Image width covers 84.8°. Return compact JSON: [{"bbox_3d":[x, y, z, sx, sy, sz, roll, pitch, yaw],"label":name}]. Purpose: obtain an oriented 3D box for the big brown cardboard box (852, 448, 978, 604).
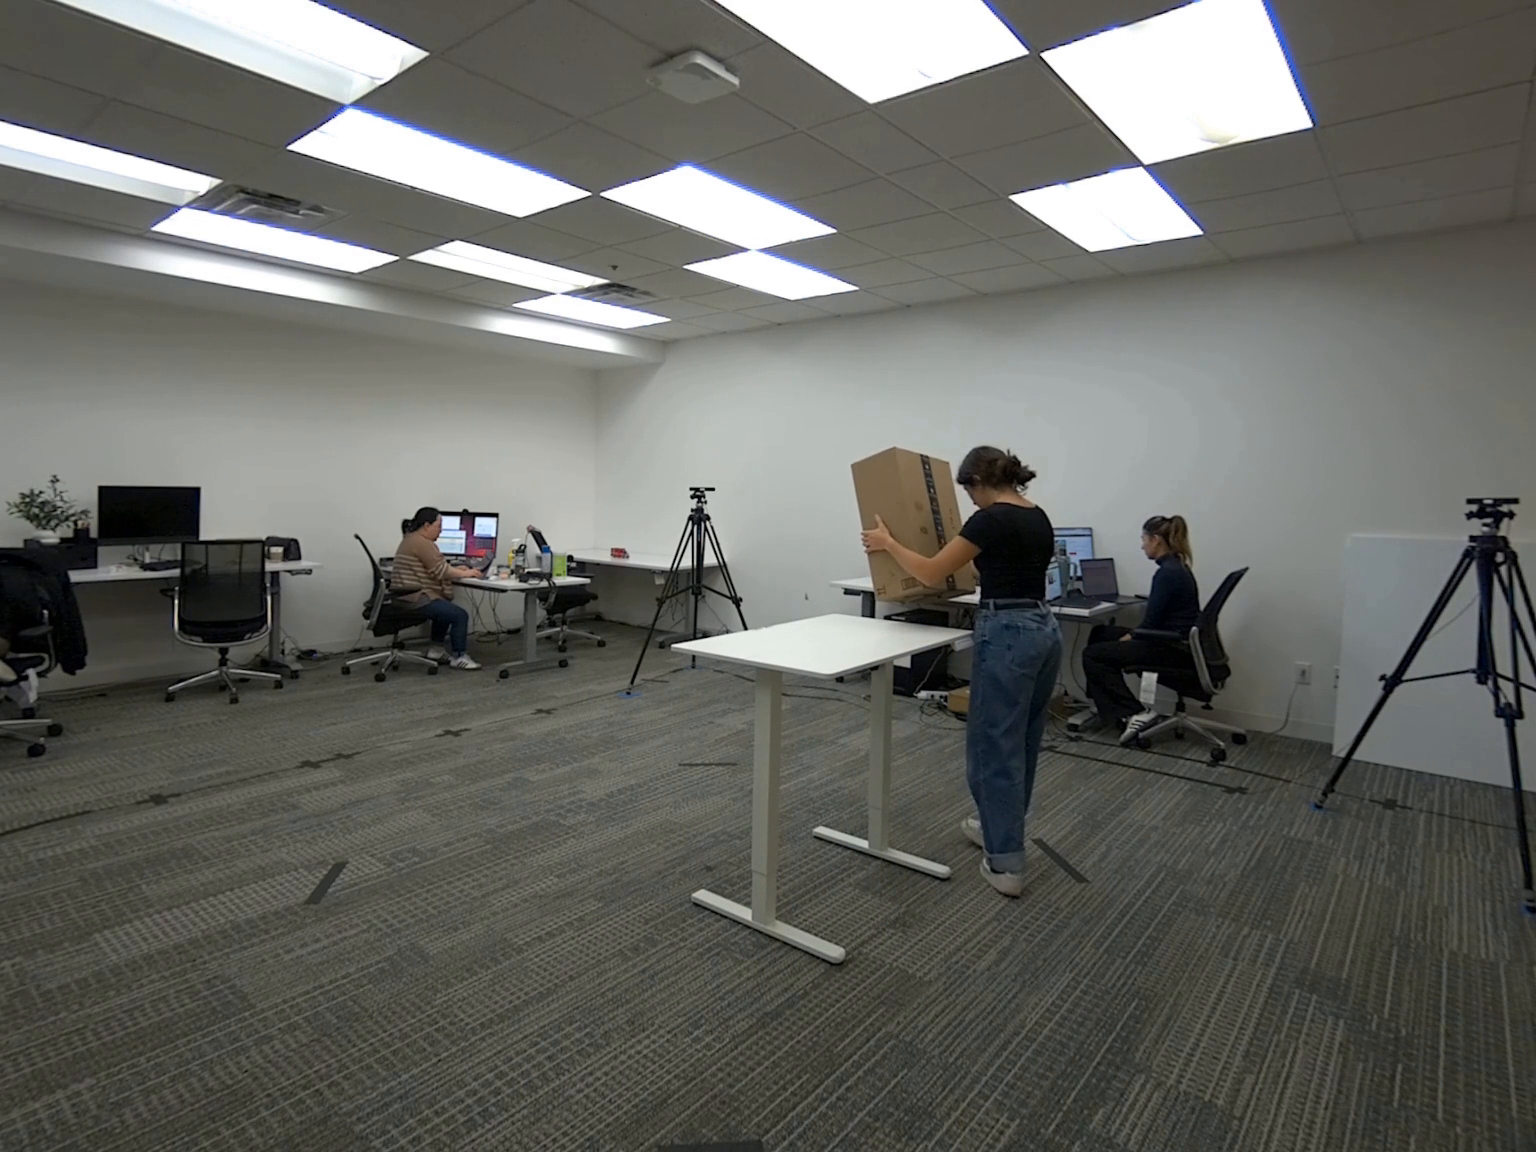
[{"bbox_3d":[0.581,-0.200,3.421,0.237,0.599,0.403,-22,-19,39],"label":"big brown cardboard box"}]
